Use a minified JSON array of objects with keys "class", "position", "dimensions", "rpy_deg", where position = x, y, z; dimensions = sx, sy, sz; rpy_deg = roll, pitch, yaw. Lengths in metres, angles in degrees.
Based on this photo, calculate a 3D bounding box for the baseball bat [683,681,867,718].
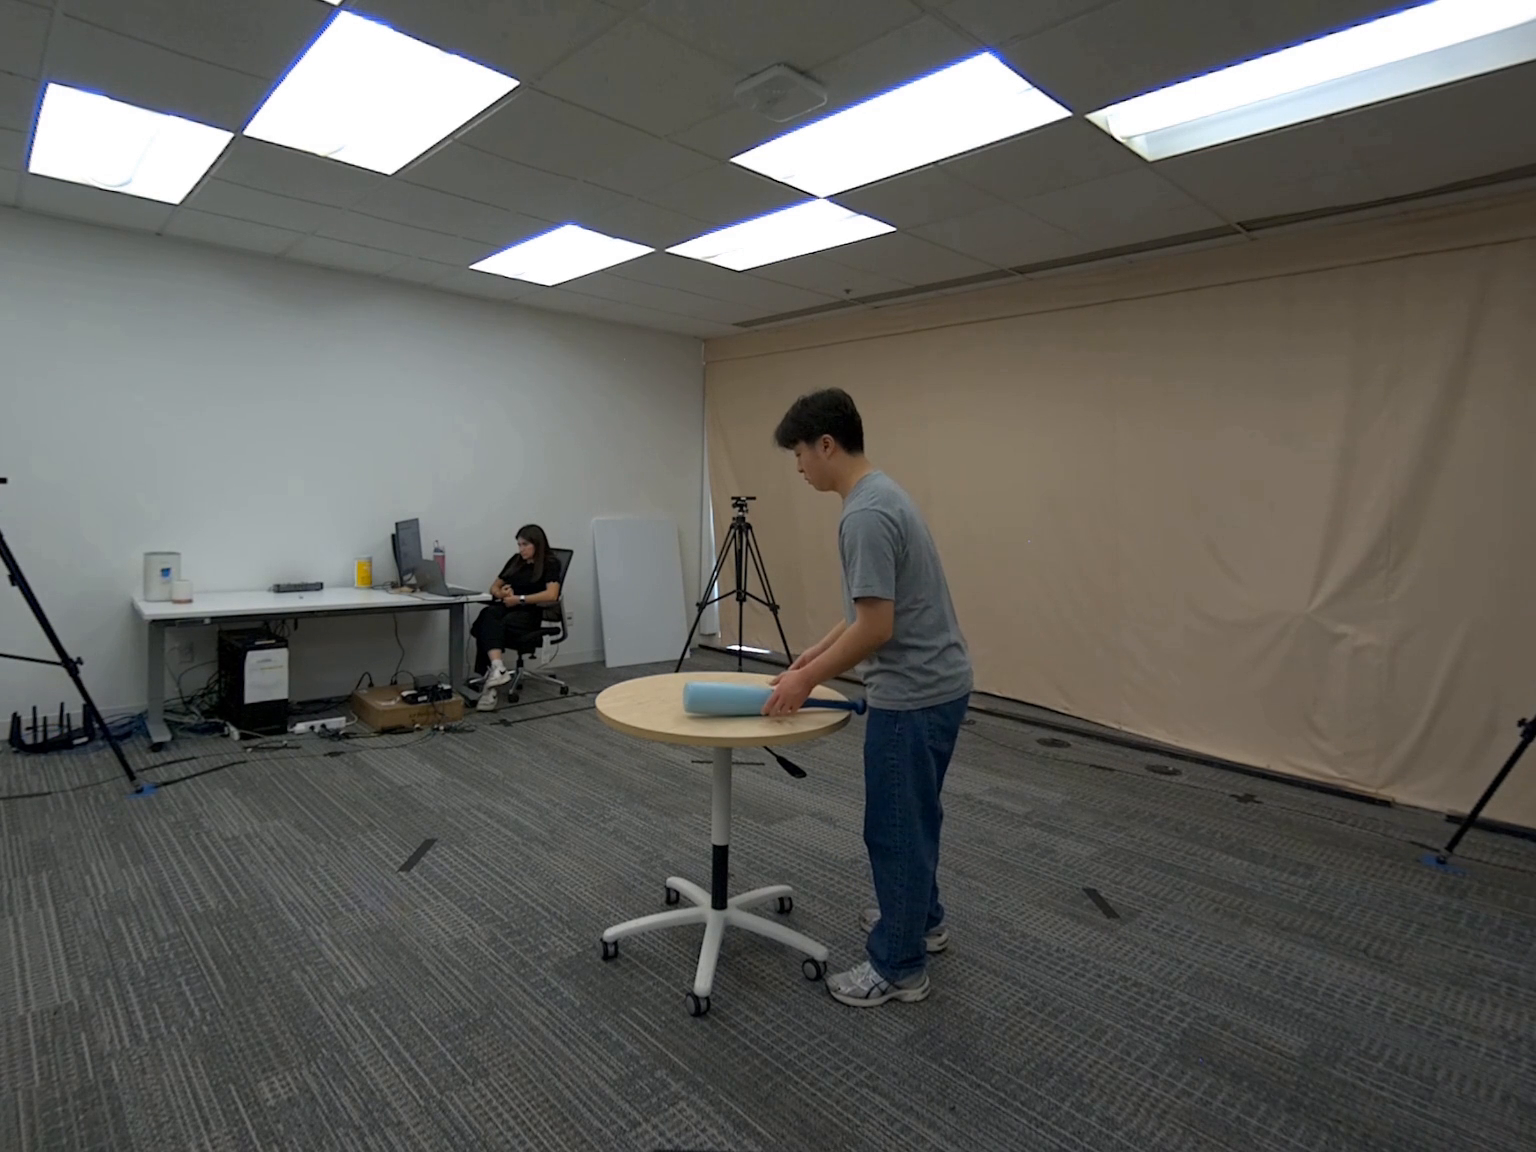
[{"class":"baseball bat","position":[0.029,0.357,2.396],"dimensions":[0.536,0.089,0.090],"rpy_deg":[6,3,-14]}]
